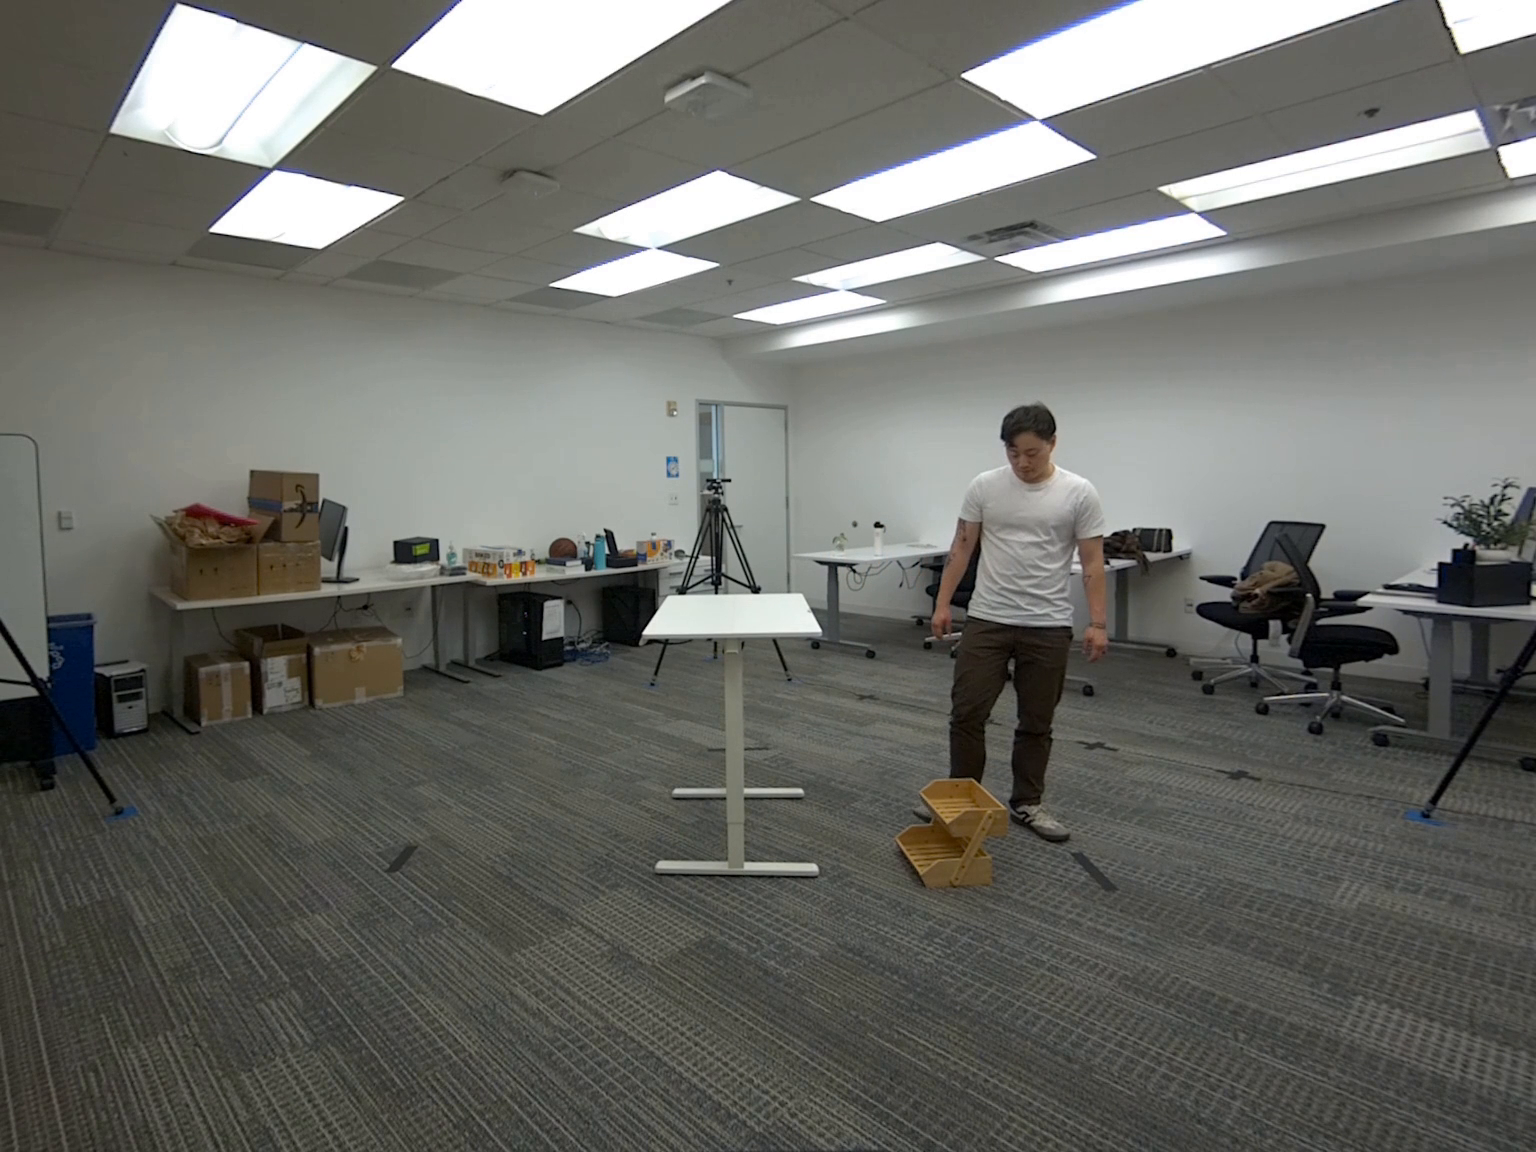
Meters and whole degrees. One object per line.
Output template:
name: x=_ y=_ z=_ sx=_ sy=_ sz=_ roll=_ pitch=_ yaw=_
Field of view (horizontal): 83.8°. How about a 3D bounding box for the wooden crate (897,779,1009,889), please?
wooden crate: x=0.643 y=0.901 z=3.053 sx=0.300 sy=0.272 sz=0.328 roll=-1 pitch=5 yaw=-8
